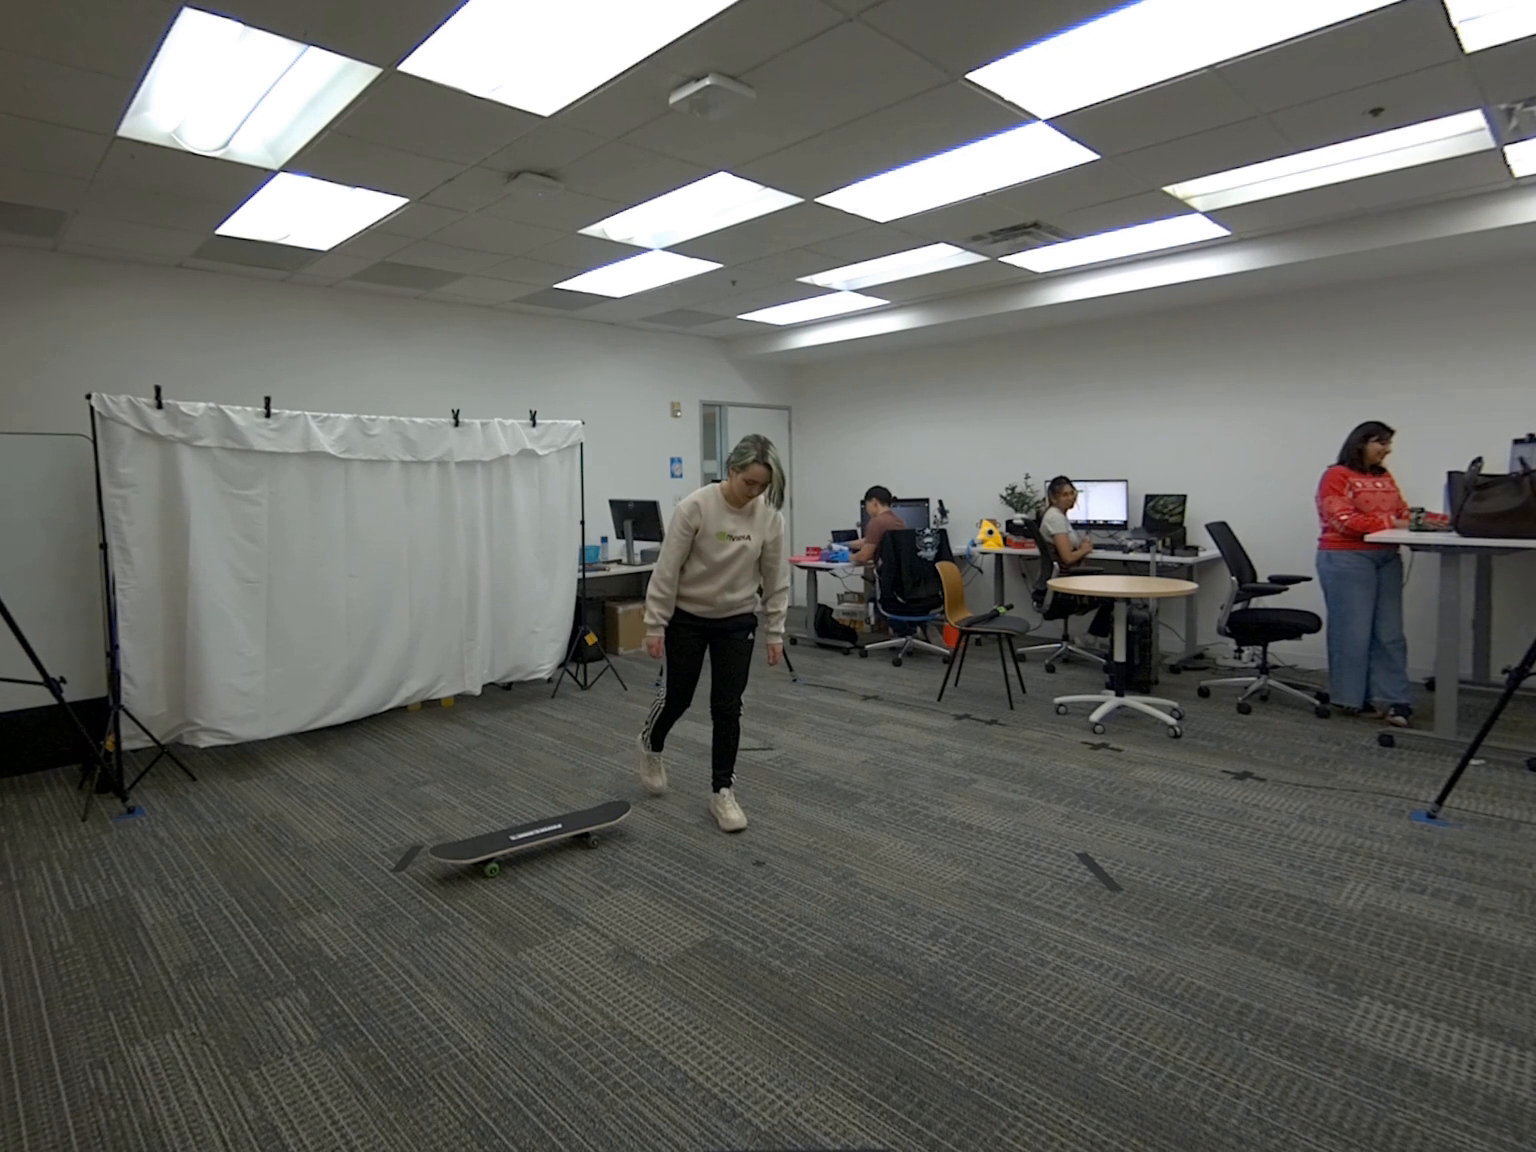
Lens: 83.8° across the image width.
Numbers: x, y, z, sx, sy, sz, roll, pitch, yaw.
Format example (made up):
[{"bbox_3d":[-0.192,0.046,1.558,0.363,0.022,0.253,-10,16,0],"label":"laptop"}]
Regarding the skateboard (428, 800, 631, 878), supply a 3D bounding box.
[{"bbox_3d":[-0.875,0.998,3.223,0.766,0.110,0.199,-6,7,-34],"label":"skateboard"}]
